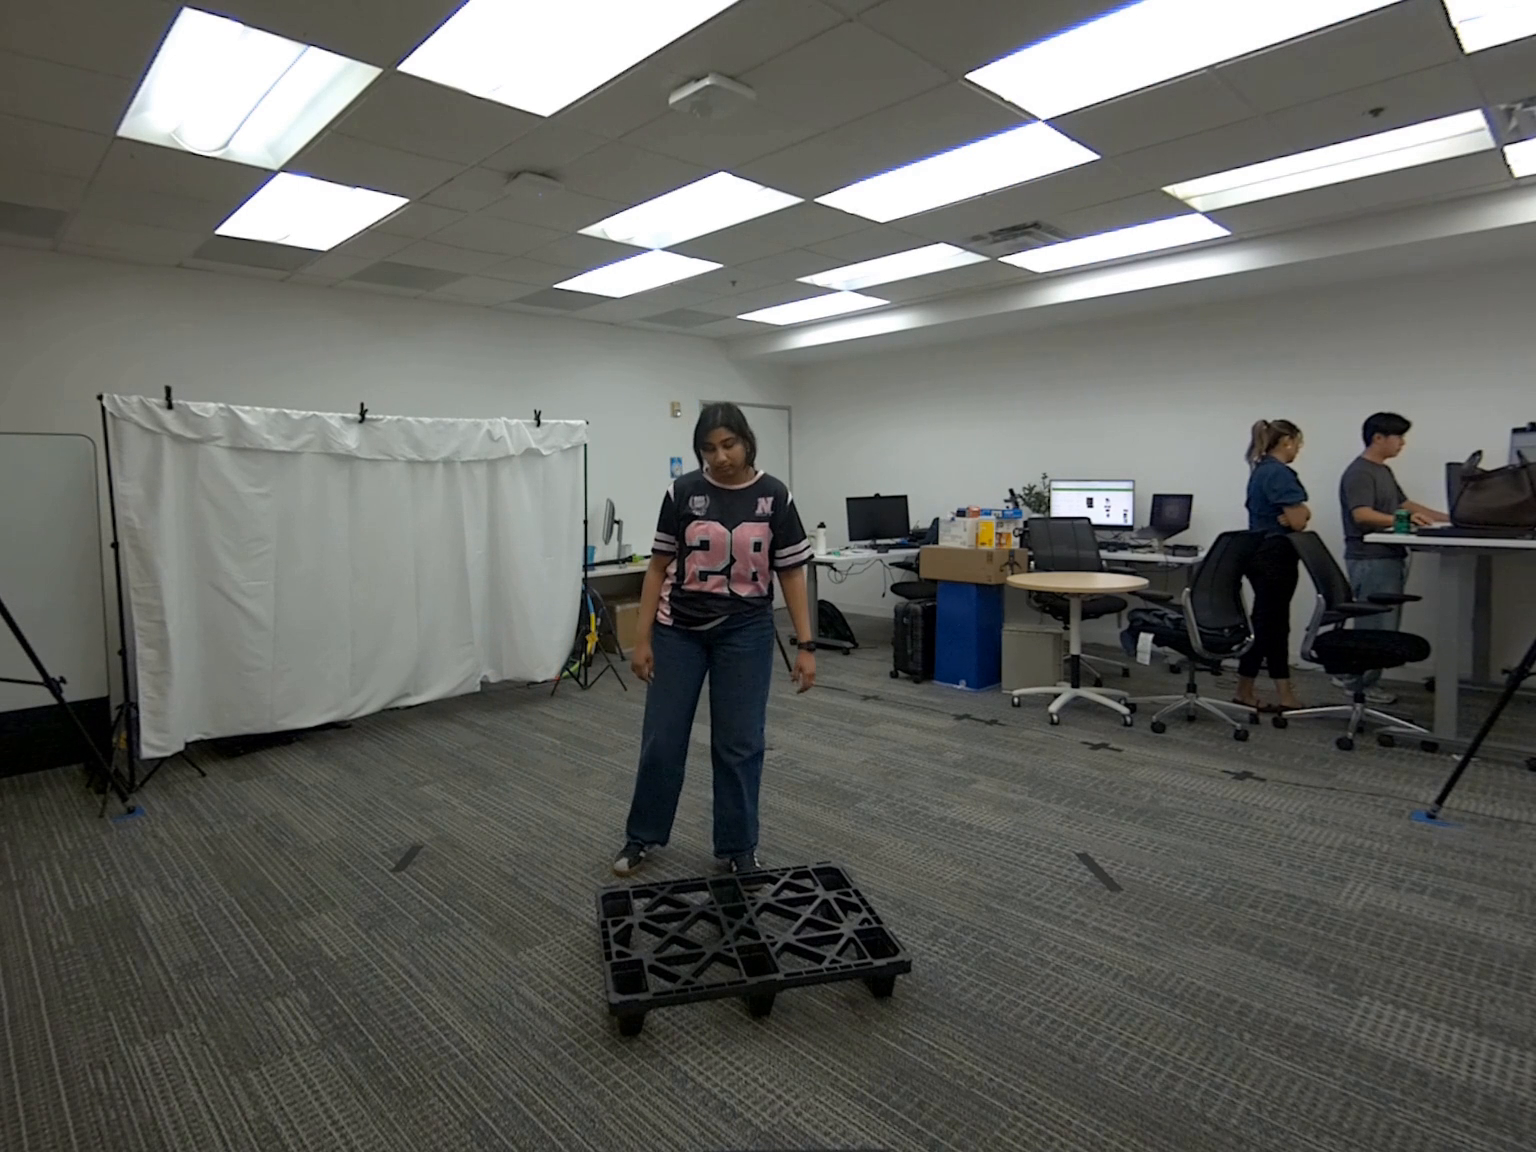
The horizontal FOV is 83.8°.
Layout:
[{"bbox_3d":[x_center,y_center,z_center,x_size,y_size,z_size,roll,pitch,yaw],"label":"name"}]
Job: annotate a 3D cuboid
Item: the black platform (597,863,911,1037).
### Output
[{"bbox_3d":[-0.075,1.058,2.454,0.796,0.143,0.615,-2,6,-13],"label":"black platform"}]
